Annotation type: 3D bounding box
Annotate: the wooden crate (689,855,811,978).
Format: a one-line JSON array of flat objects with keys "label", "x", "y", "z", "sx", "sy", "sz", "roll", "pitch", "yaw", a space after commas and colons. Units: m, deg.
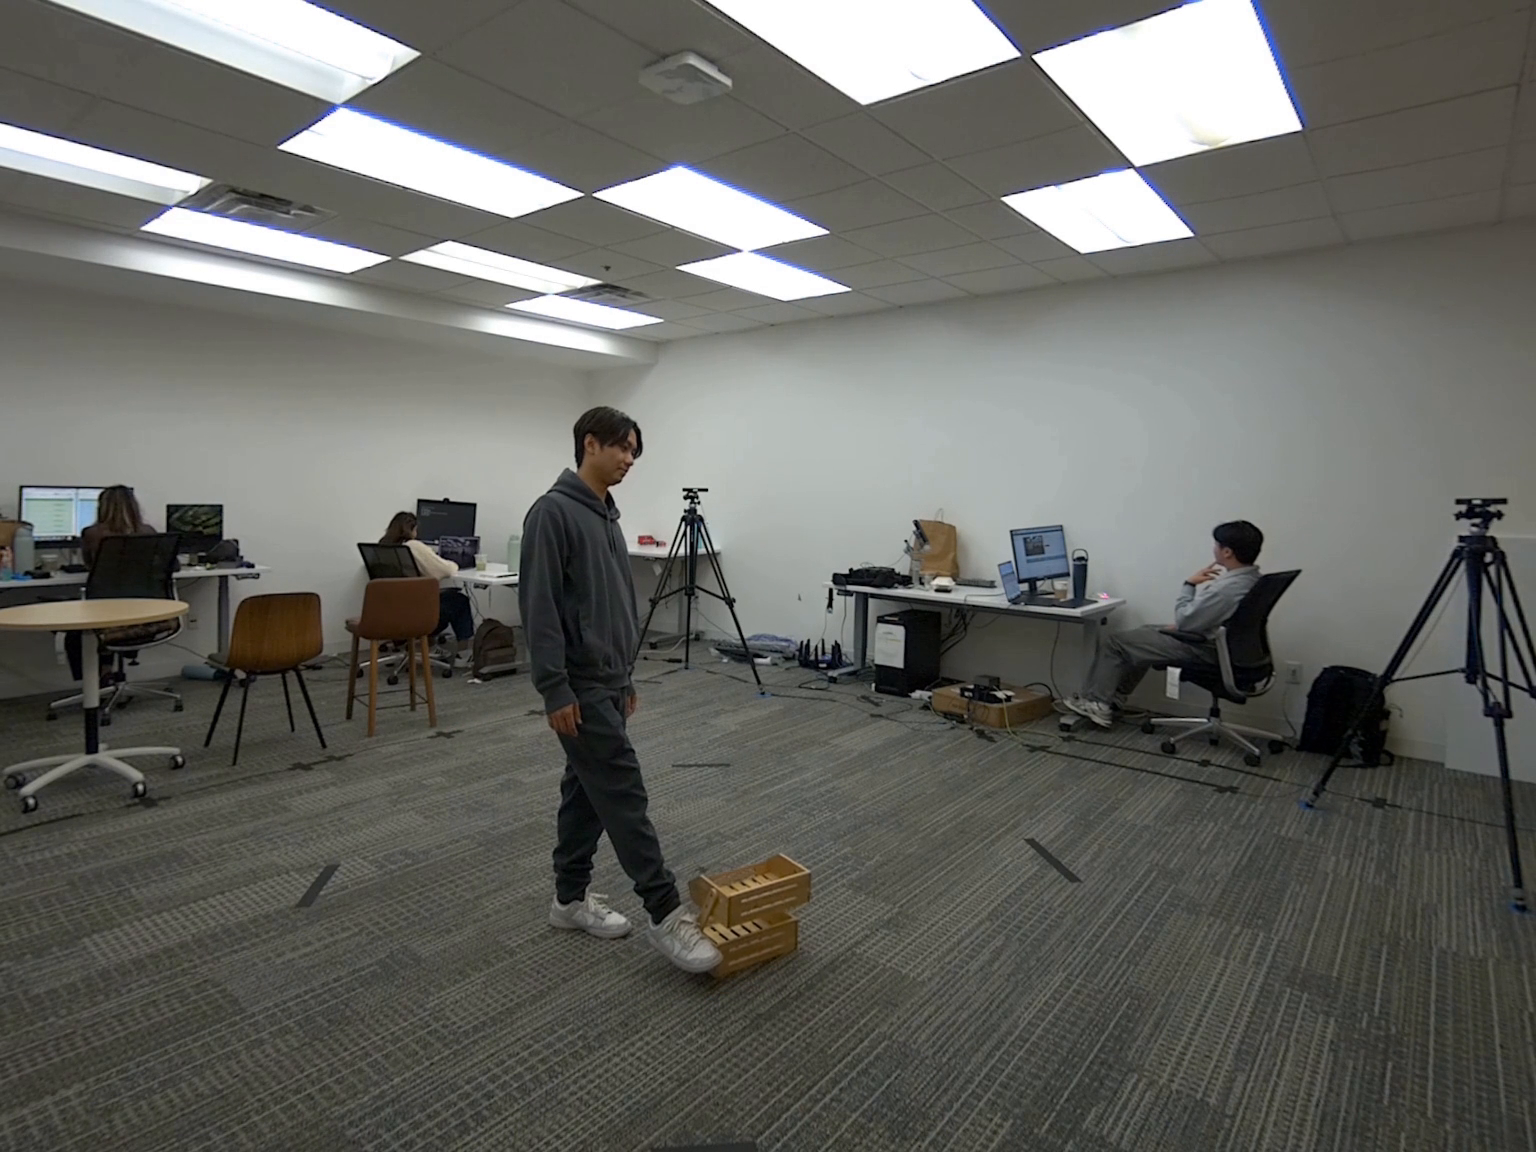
[{"label": "wooden crate", "x": -0.094, "y": 0.991, "z": 2.566, "sx": 0.315, "sy": 0.272, "sz": 0.312, "roll": -1, "pitch": 6, "yaw": -35}]
